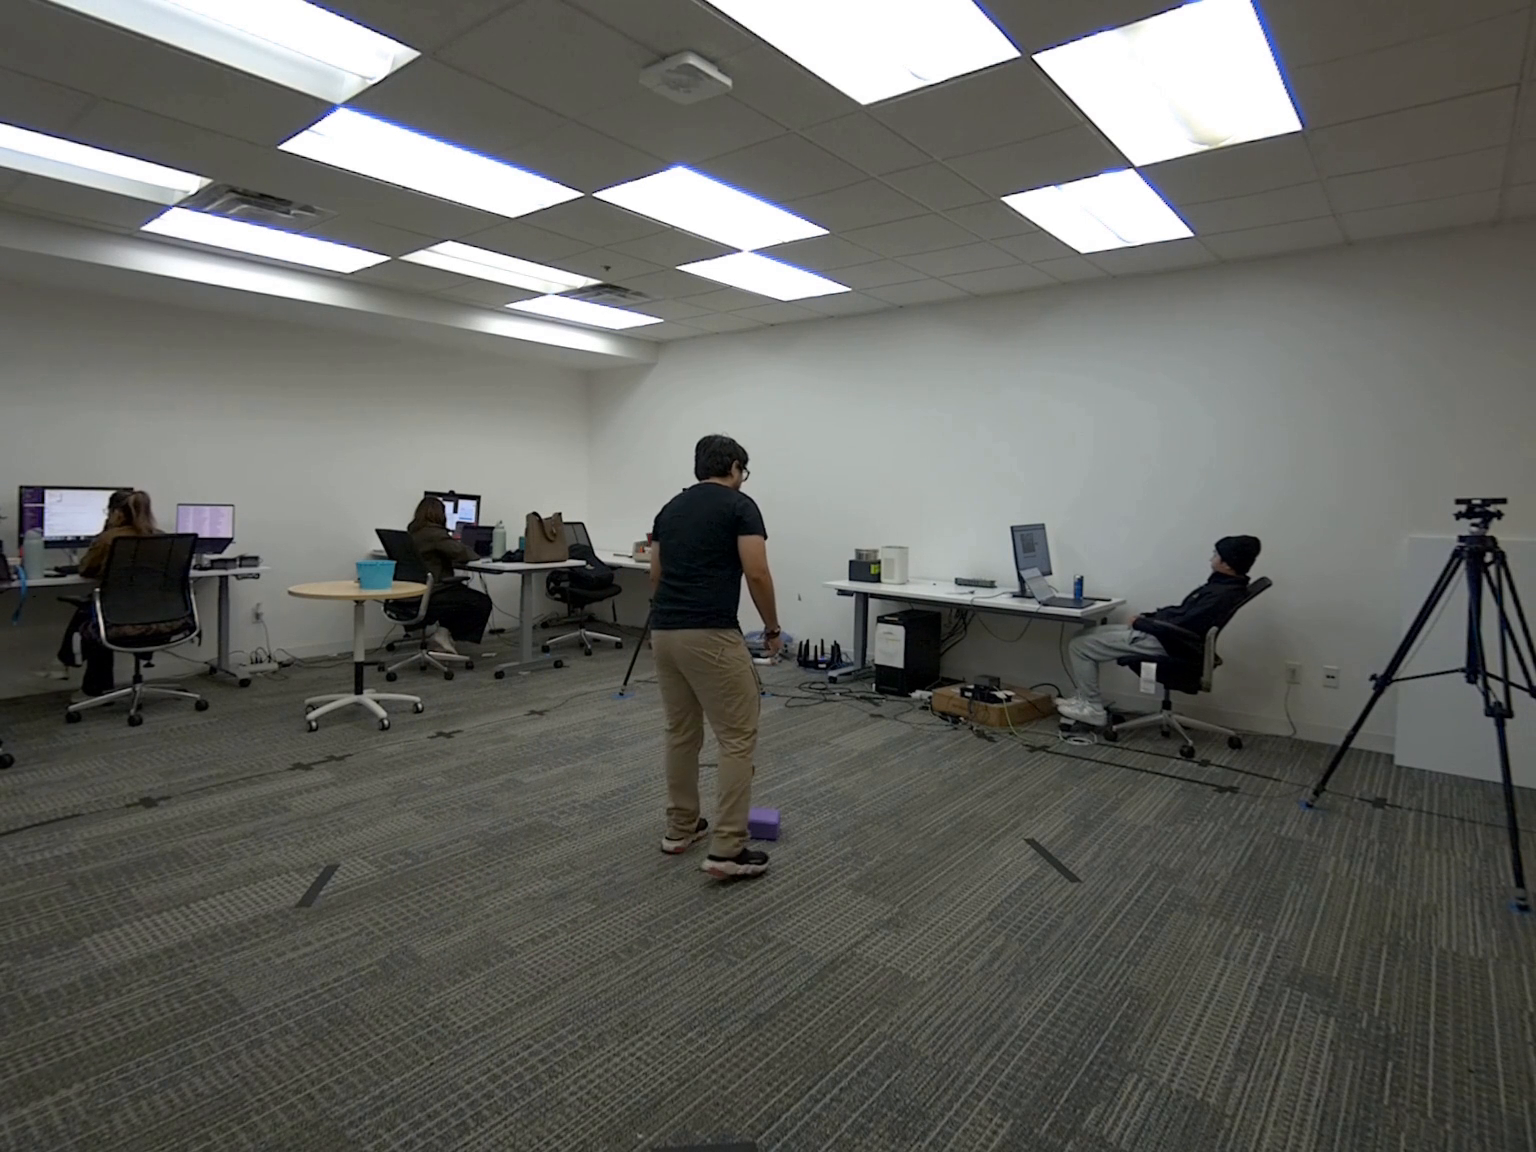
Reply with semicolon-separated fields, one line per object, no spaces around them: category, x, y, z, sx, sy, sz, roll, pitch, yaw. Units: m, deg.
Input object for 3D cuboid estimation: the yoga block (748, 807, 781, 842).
yoga block;-0.084;0.996;3.454;0.232;0.076;0.148;3;6;8
